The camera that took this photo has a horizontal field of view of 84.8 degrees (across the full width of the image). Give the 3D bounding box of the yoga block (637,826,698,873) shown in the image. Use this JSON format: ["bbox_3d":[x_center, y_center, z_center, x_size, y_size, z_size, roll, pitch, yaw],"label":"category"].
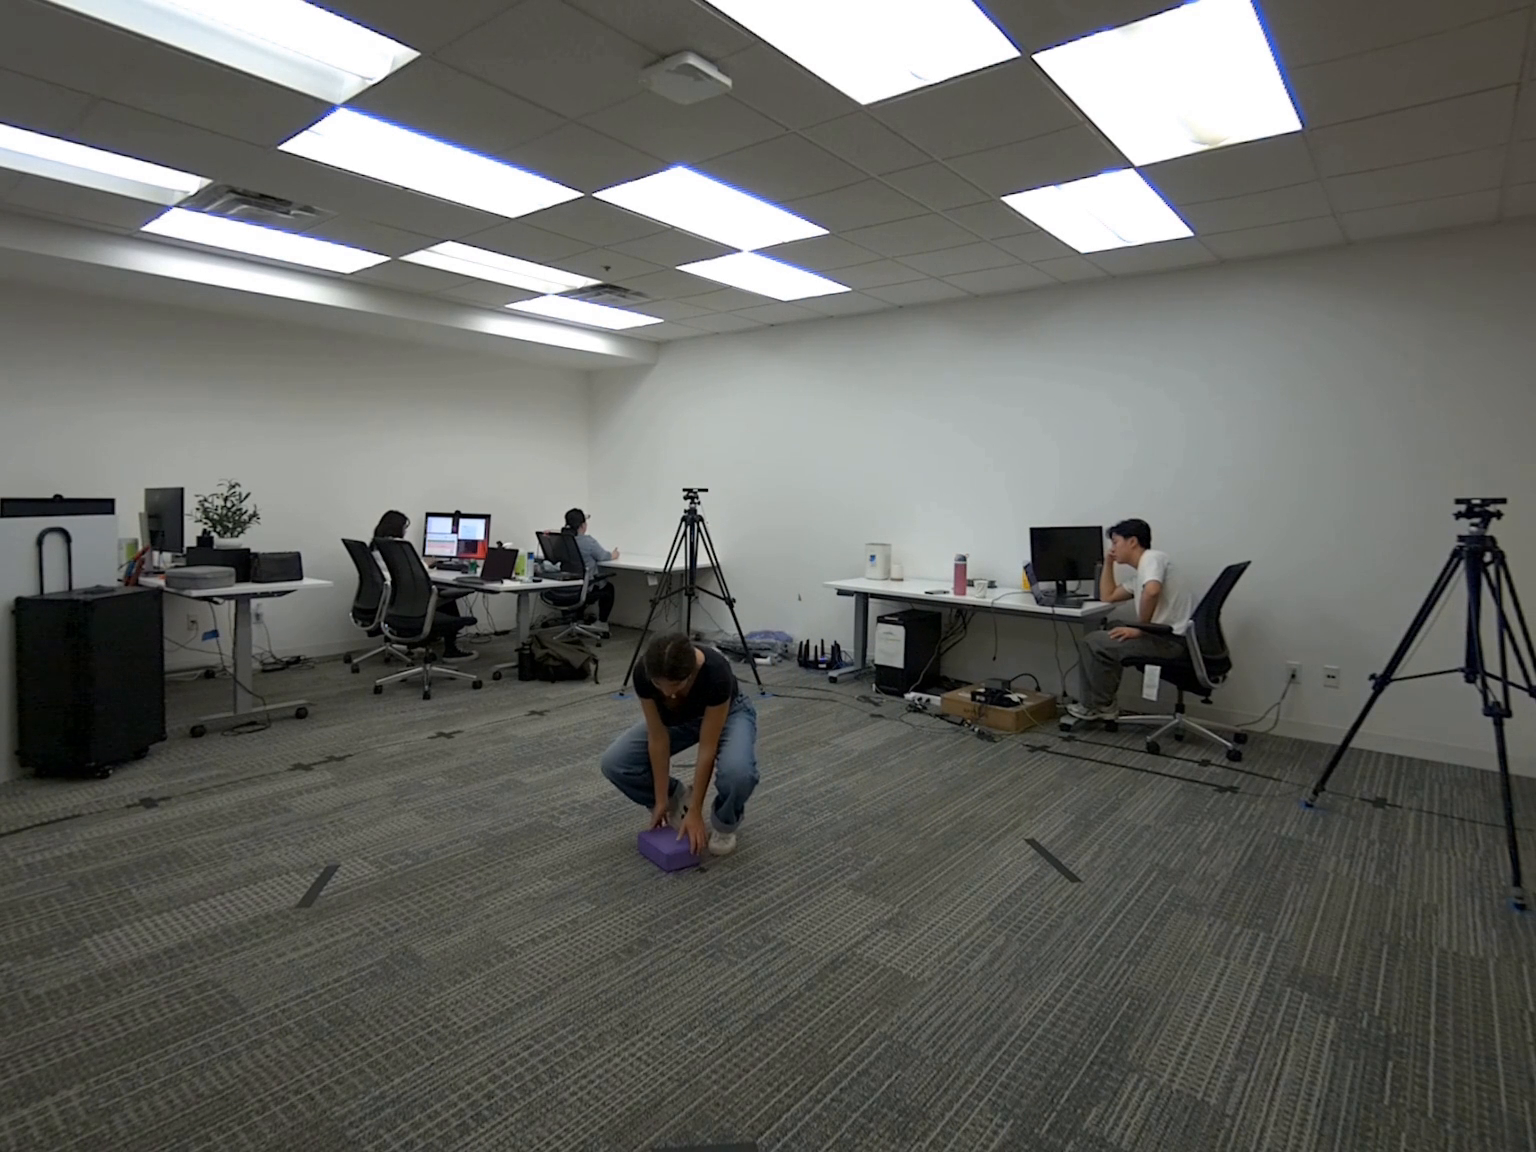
[{"bbox_3d":[-0.378,1.018,3.203,0.145,0.076,0.237,-4,6,-35],"label":"yoga block"}]
